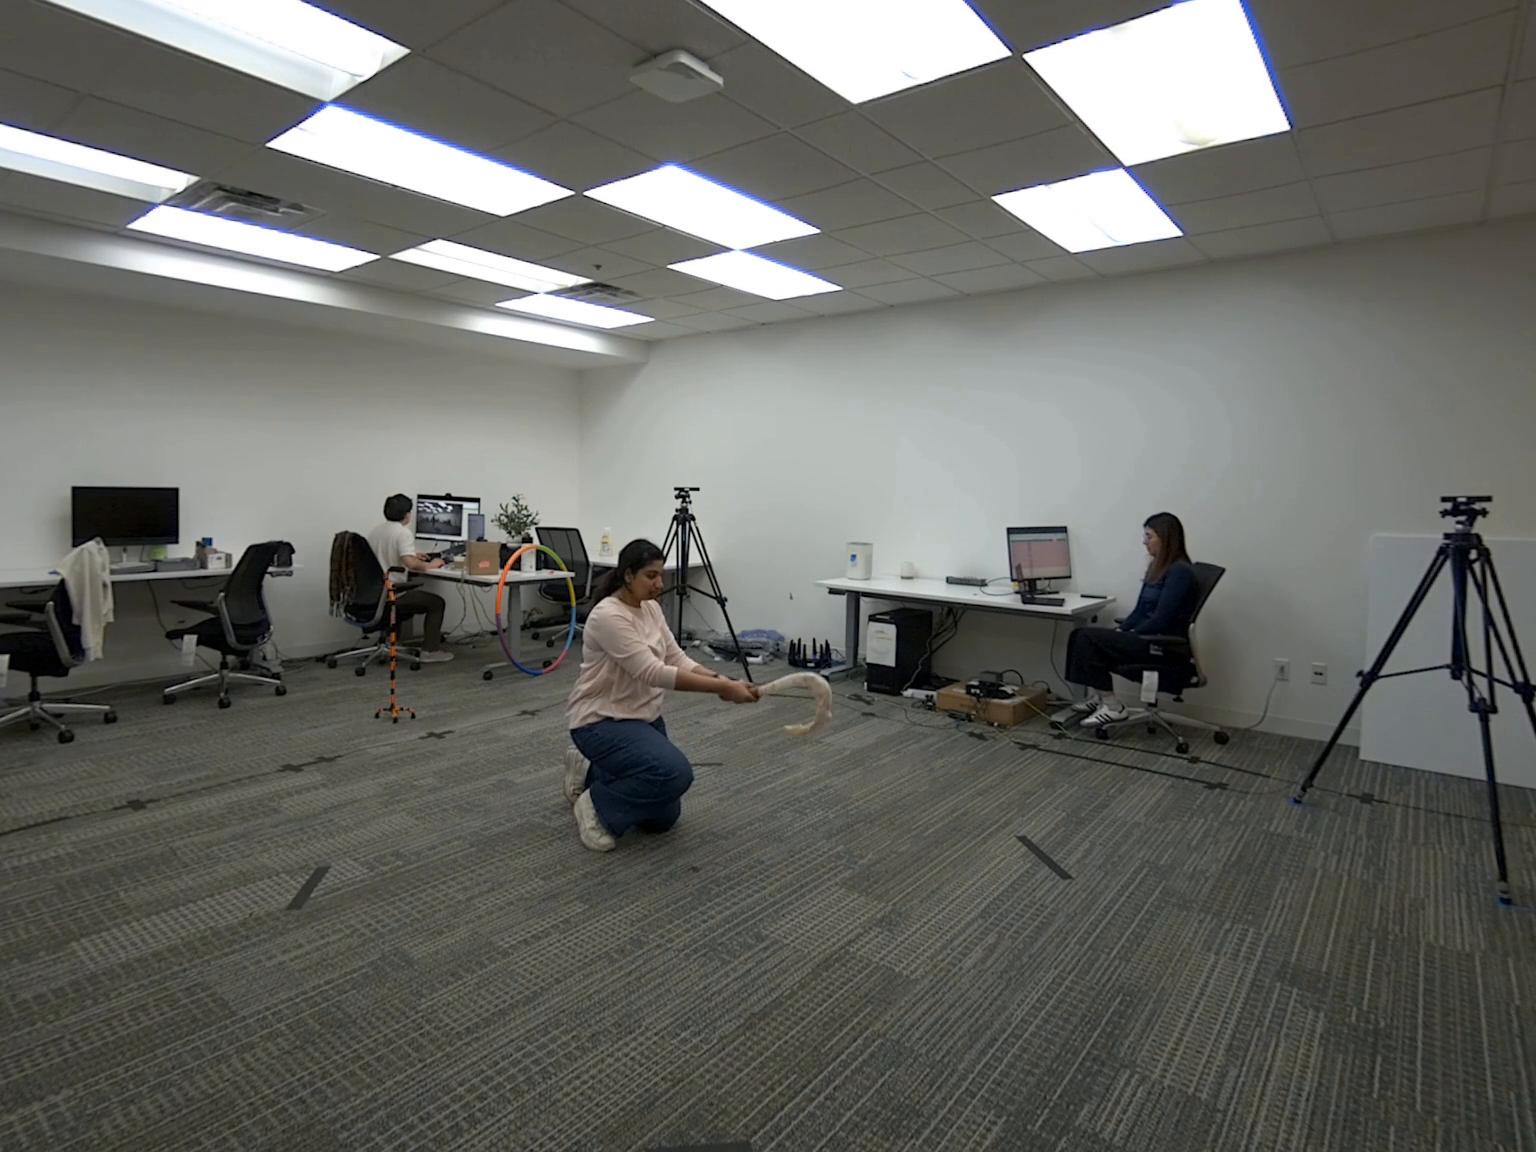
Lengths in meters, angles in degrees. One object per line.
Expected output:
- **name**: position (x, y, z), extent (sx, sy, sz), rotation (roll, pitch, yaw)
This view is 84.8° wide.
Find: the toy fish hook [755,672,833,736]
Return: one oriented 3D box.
- **toy fish hook**: position (-0.008, 0.461, 3.156), extent (0.520, 0.228, 0.046), rotation (-7, -20, 35)
